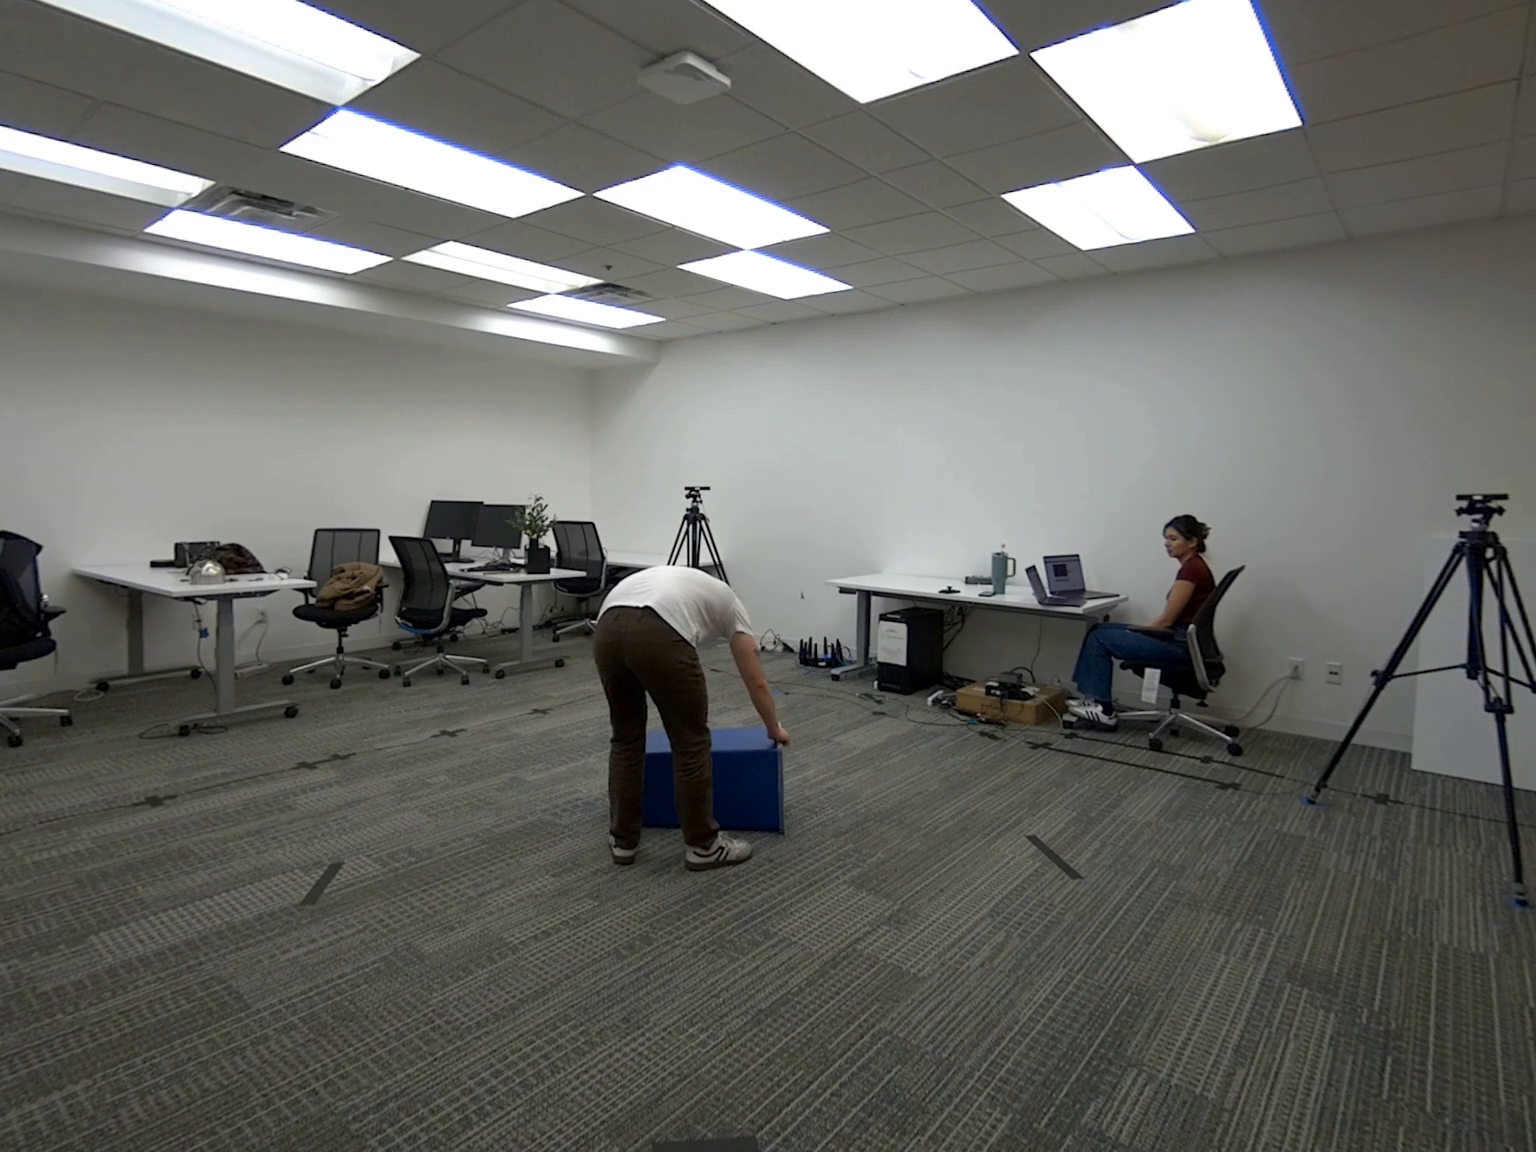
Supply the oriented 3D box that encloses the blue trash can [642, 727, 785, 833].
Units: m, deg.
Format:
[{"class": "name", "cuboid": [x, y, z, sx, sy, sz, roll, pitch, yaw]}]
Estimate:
[{"class": "blue trash can", "cuboid": [-0.302, 0.842, 3.610, 0.716, 0.376, 0.375, -2, 6, 3]}]
